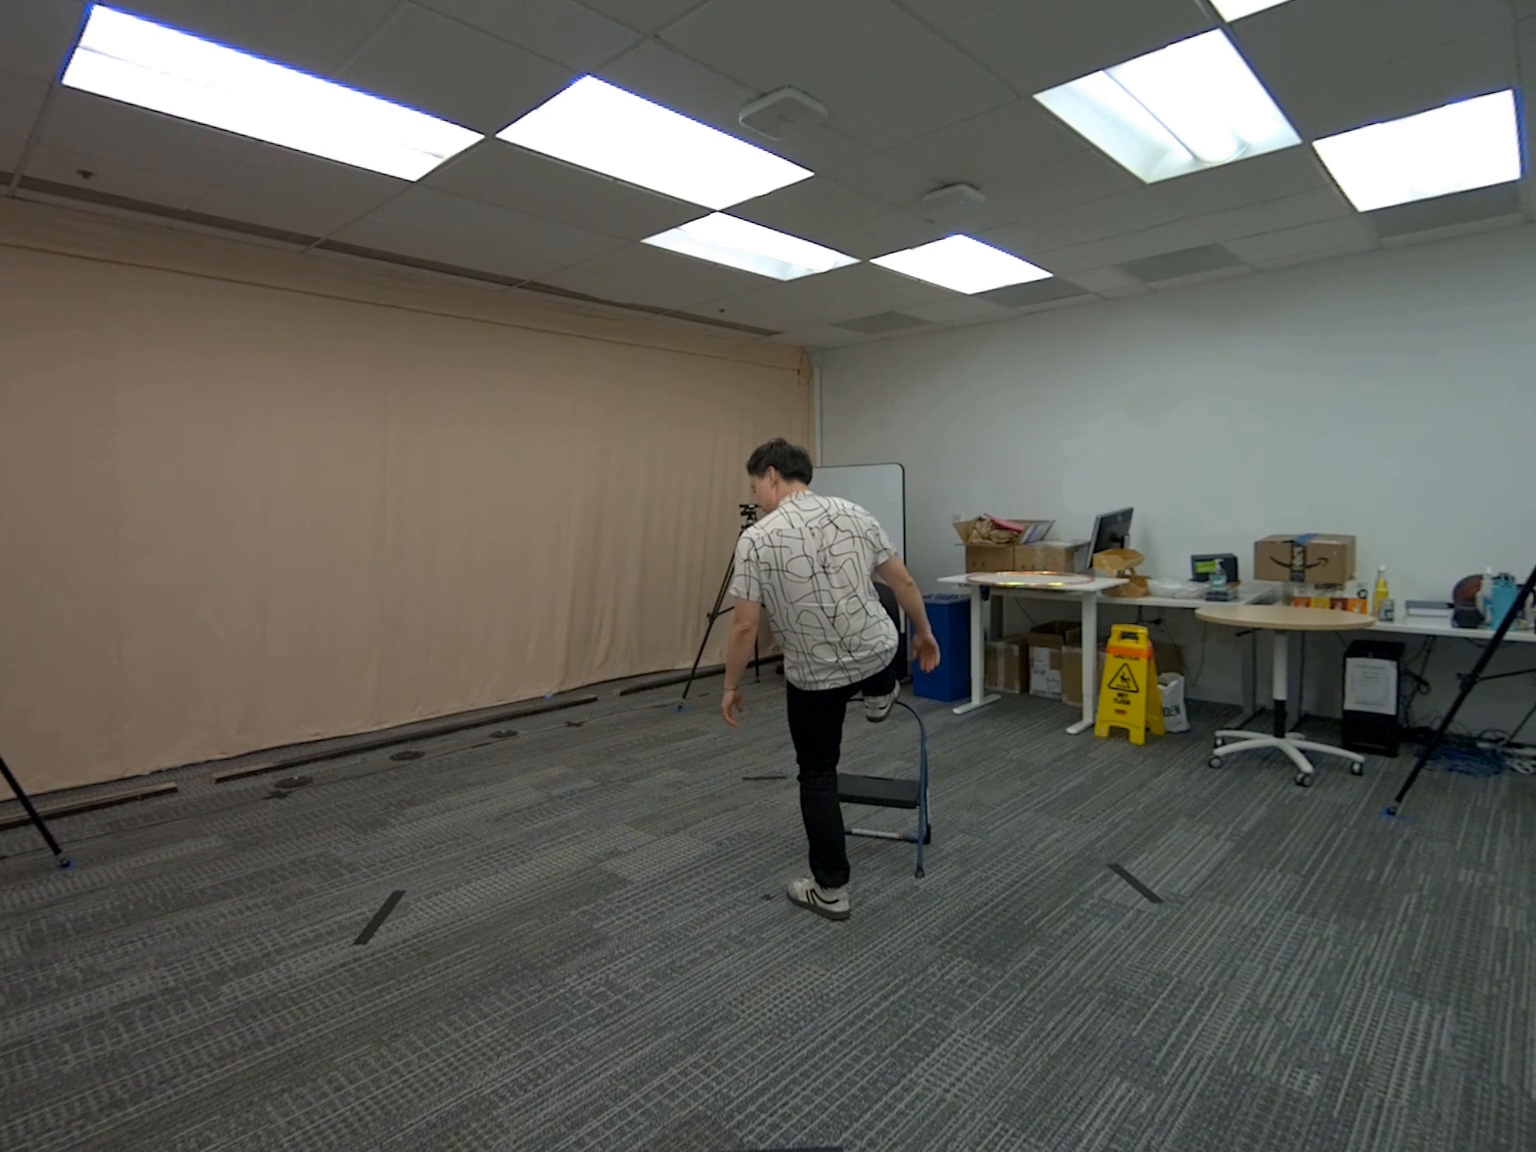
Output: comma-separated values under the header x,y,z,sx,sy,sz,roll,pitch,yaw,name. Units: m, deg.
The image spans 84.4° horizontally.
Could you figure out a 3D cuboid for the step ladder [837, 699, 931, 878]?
x,y,z,sx,sy,sz,roll,pitch,yaw,name
0.426,0.794,3.345,0.439,0.605,0.343,1,3,18,step ladder
